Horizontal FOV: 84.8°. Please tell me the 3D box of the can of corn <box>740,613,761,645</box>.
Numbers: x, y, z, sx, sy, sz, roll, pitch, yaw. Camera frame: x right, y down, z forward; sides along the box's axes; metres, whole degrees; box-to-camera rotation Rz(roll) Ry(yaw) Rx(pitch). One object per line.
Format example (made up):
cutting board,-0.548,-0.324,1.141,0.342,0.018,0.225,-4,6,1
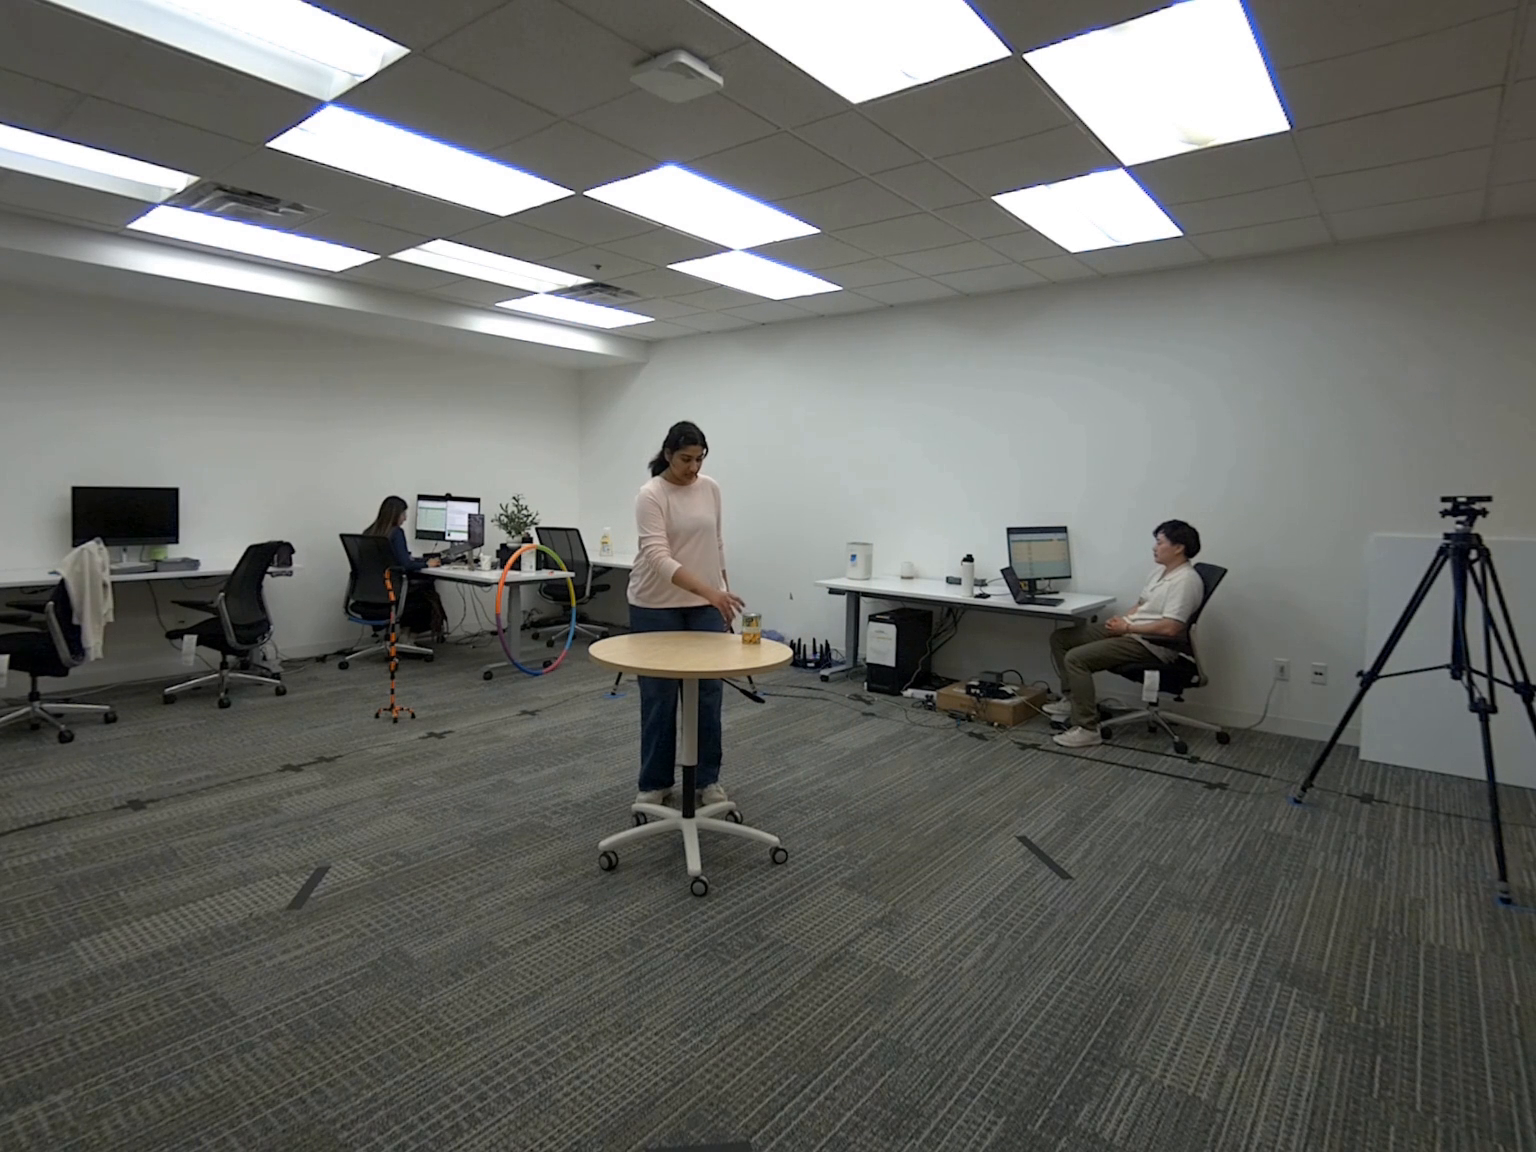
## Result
can of corn,-0.080,0.206,3.349,0.074,0.110,0.074,1,4,-2
